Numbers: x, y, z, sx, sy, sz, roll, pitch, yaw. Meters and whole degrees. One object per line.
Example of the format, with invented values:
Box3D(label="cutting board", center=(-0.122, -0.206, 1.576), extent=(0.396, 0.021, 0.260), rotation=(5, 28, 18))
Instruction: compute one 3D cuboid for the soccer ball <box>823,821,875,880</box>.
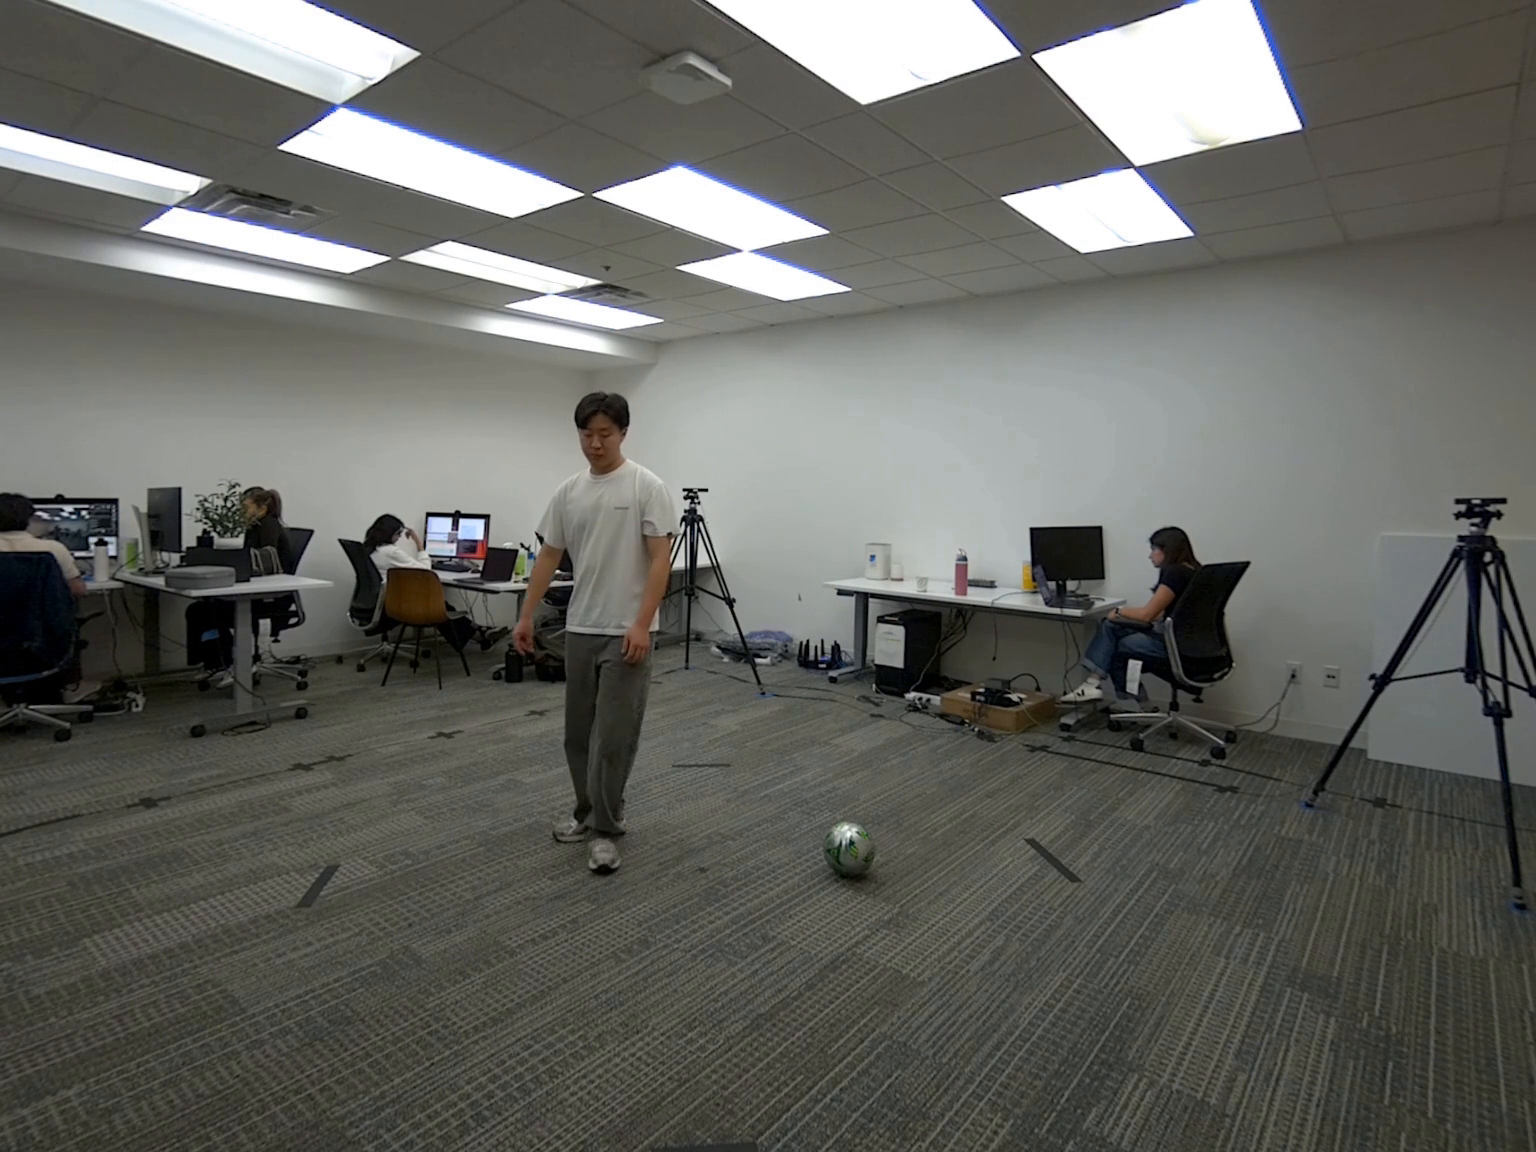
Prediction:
Box3D(label="soccer ball", center=(0.297, 0.985, 3.098), extent=(0.187, 0.187, 0.188), rotation=(1, 4, -2))
